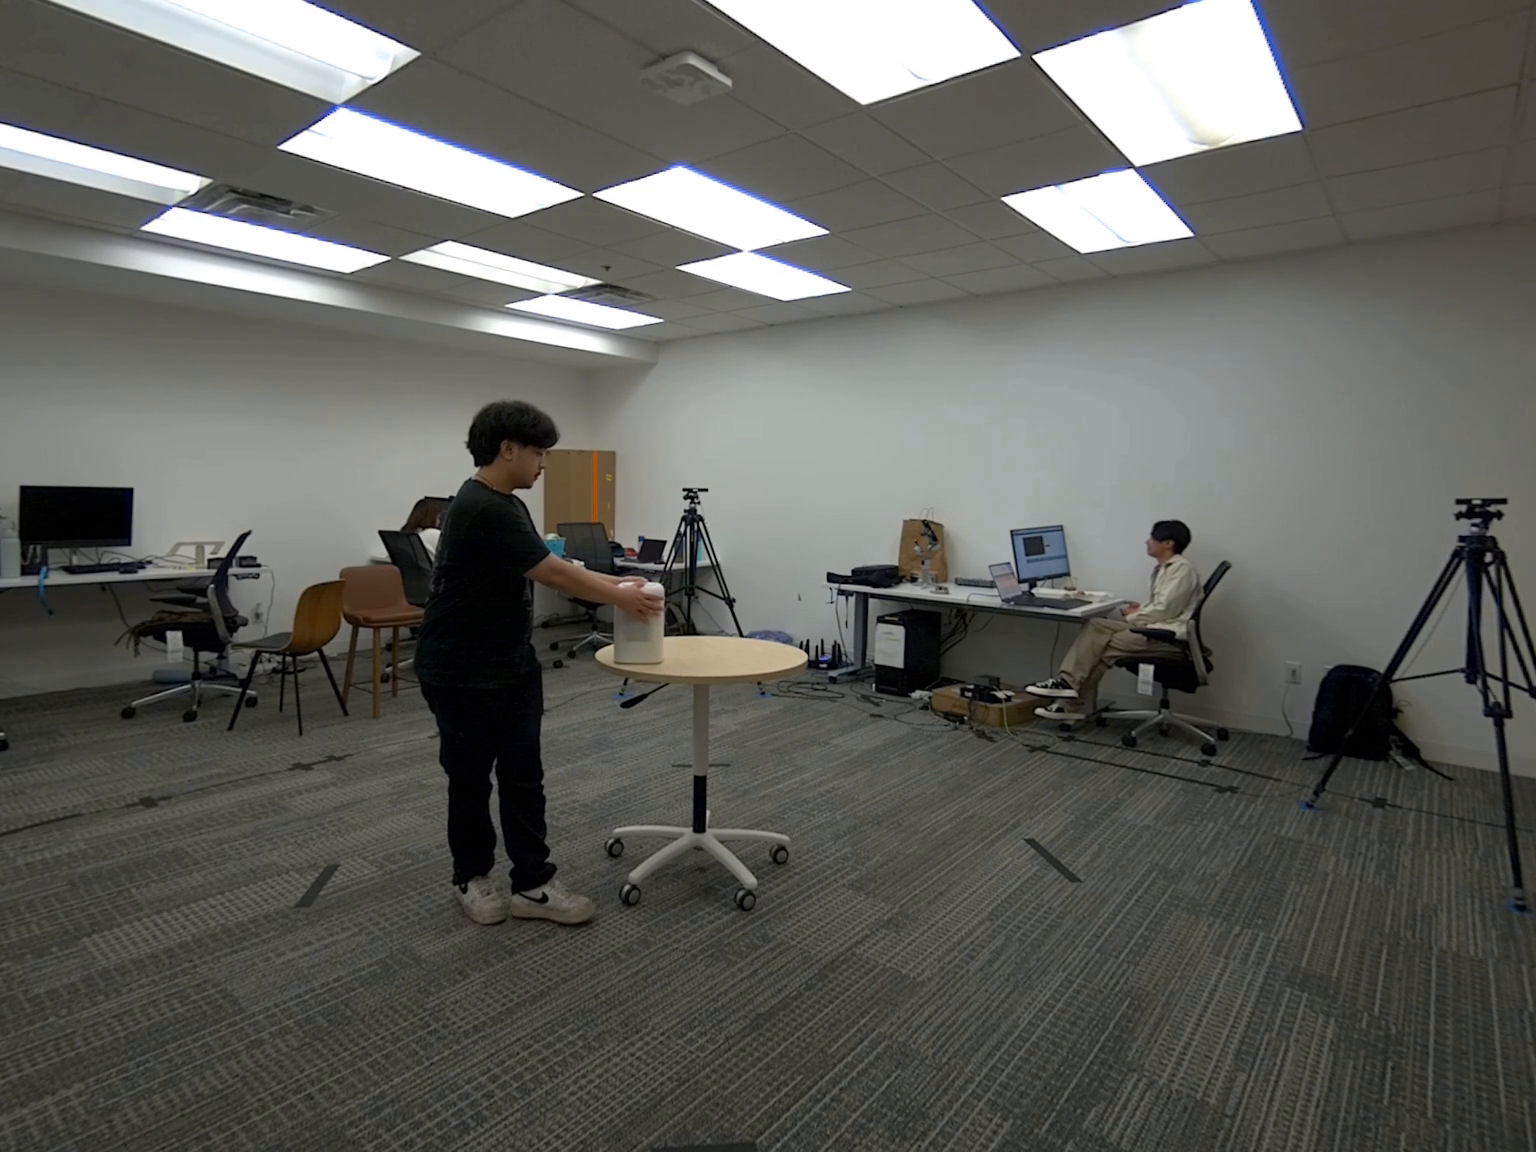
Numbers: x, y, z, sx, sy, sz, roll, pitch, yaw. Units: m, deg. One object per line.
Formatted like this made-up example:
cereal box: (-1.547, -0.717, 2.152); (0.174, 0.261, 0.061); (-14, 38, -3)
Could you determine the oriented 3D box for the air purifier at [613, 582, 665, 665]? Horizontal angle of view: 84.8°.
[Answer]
air purifier: (-0.456, 0.162, 2.944); (0.171, 0.264, 0.172); (-1, 5, -2)
